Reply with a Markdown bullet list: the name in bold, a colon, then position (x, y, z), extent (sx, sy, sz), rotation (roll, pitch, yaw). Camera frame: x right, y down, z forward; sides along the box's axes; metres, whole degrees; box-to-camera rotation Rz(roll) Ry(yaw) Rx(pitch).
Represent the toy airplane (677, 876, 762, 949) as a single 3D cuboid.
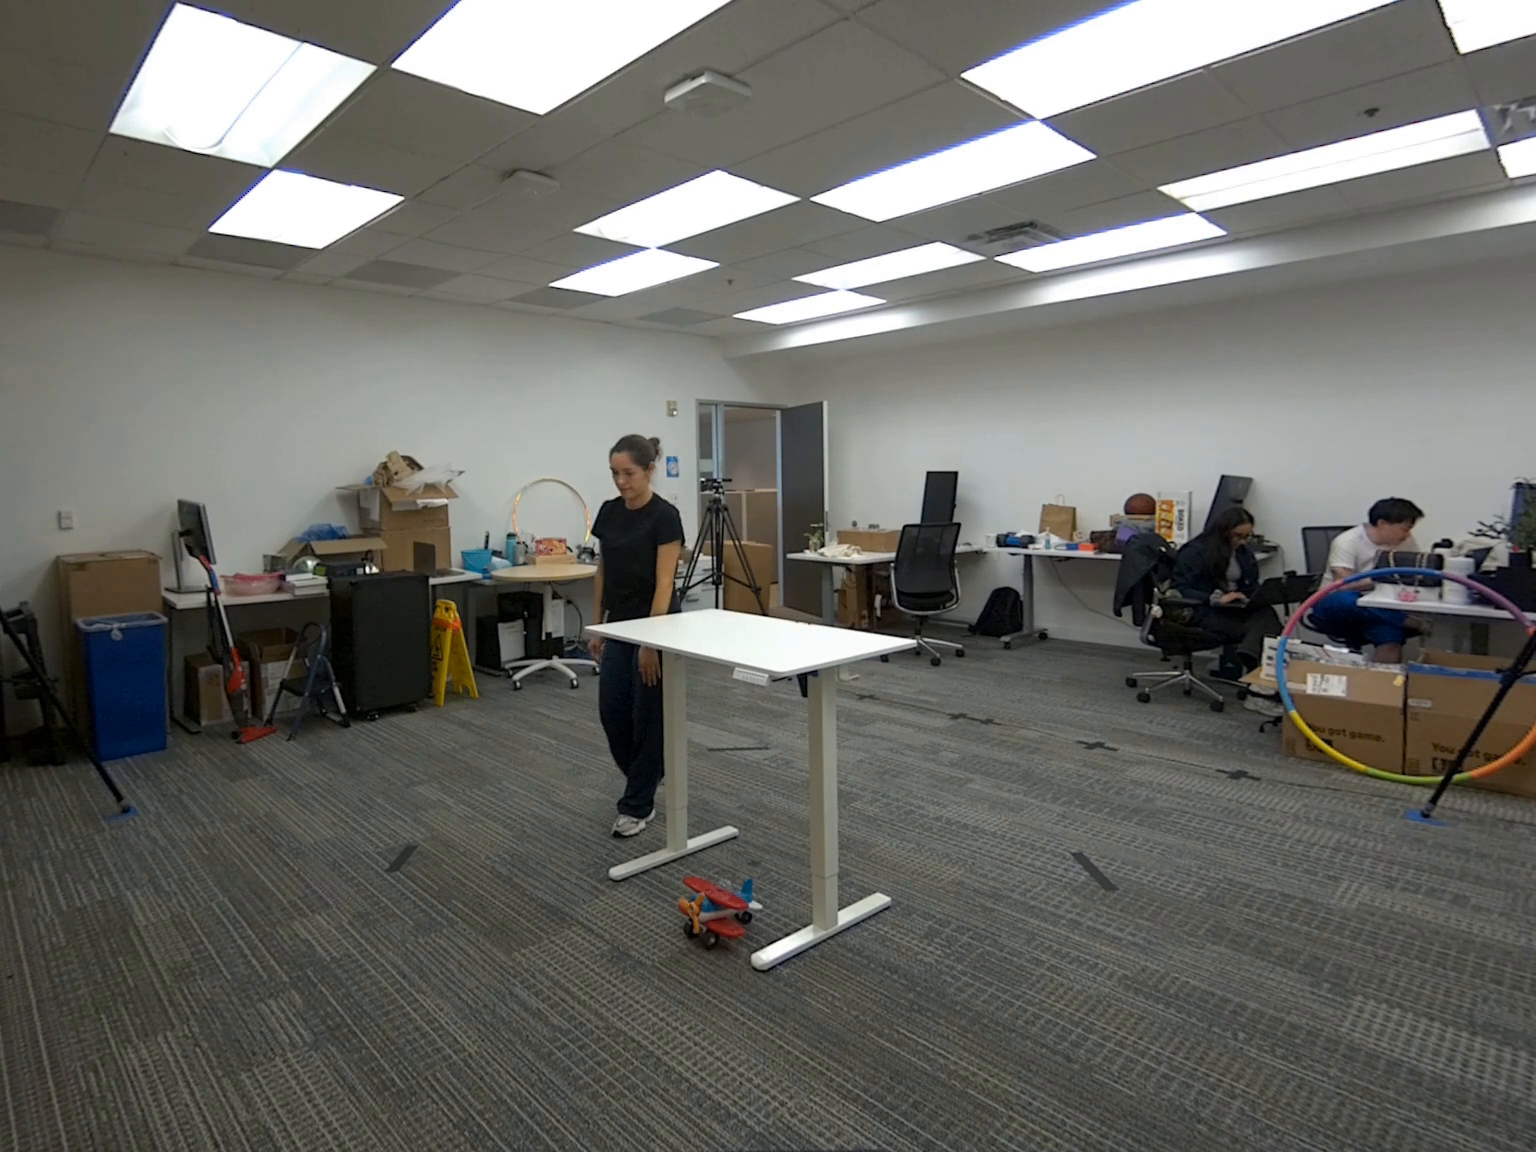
- **toy airplane**: position (-0.152, 1.026, 2.658), extent (0.255, 0.155, 0.257), rotation (1, 8, 16)
